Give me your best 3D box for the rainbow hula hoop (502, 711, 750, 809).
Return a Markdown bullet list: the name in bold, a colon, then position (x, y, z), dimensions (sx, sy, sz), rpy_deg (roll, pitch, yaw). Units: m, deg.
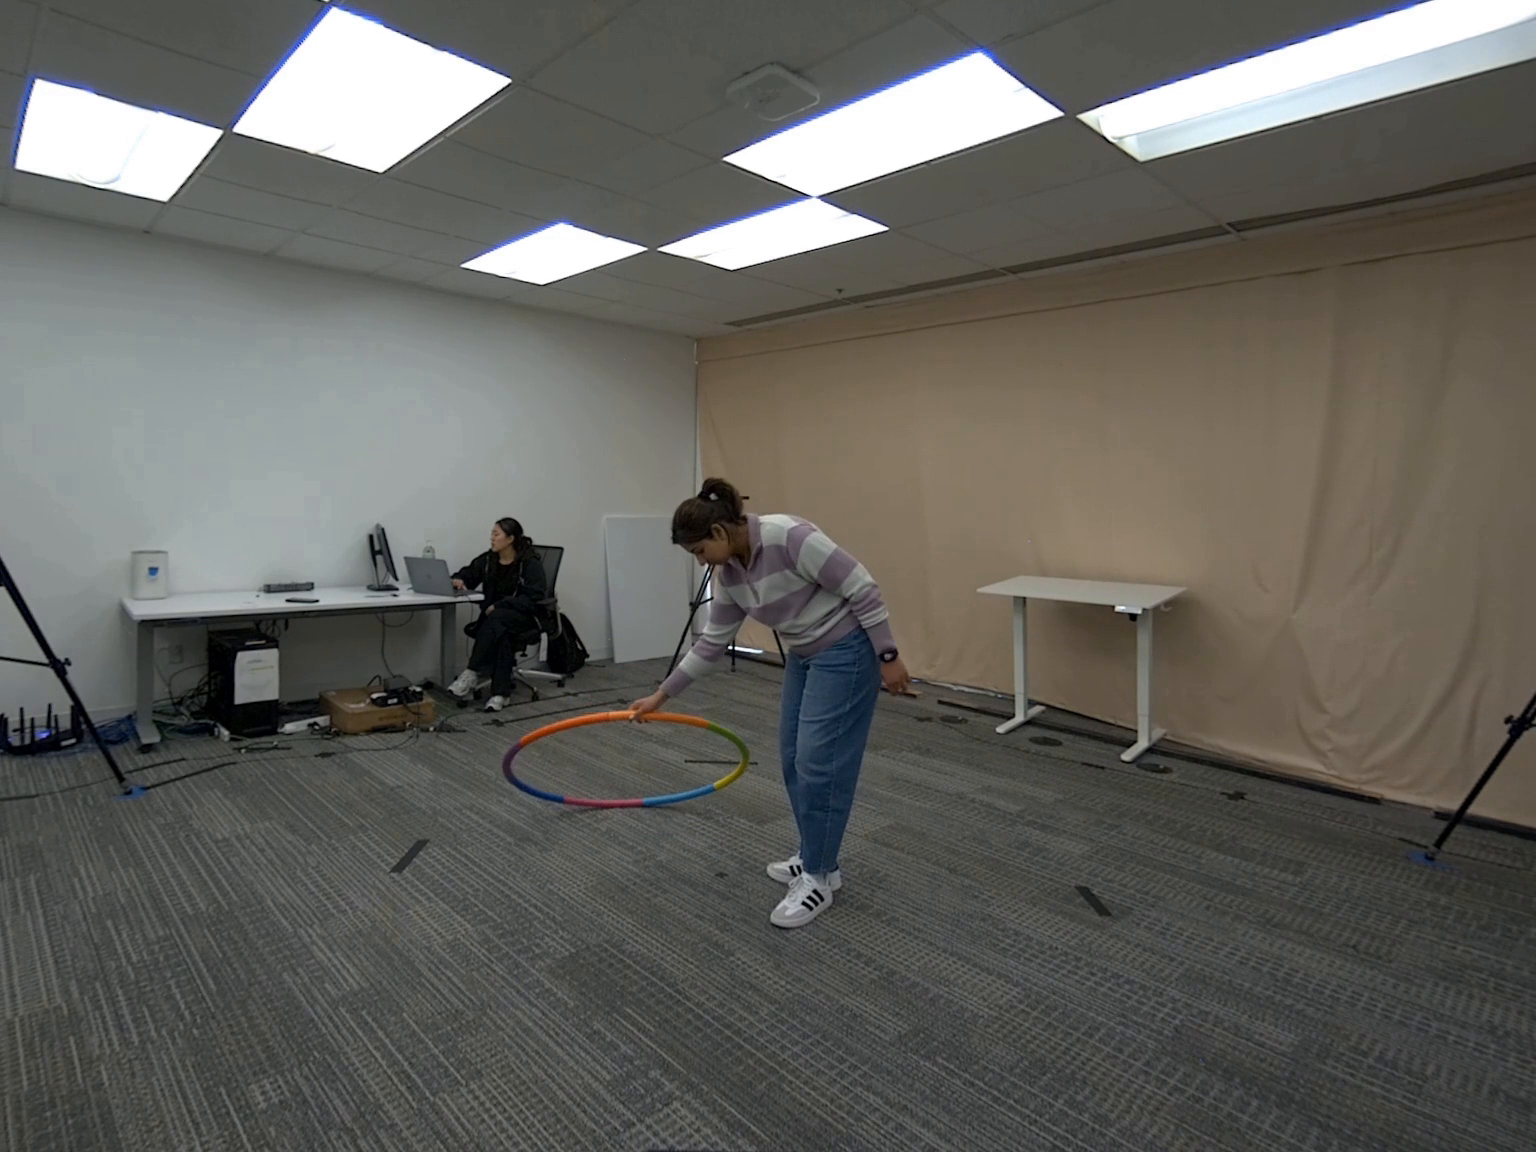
- **rainbow hula hoop**: position (-0.571, 0.759, 3.387), dimensions (0.976, 0.036, 0.959), rpy_deg (-4, -33, -4)
